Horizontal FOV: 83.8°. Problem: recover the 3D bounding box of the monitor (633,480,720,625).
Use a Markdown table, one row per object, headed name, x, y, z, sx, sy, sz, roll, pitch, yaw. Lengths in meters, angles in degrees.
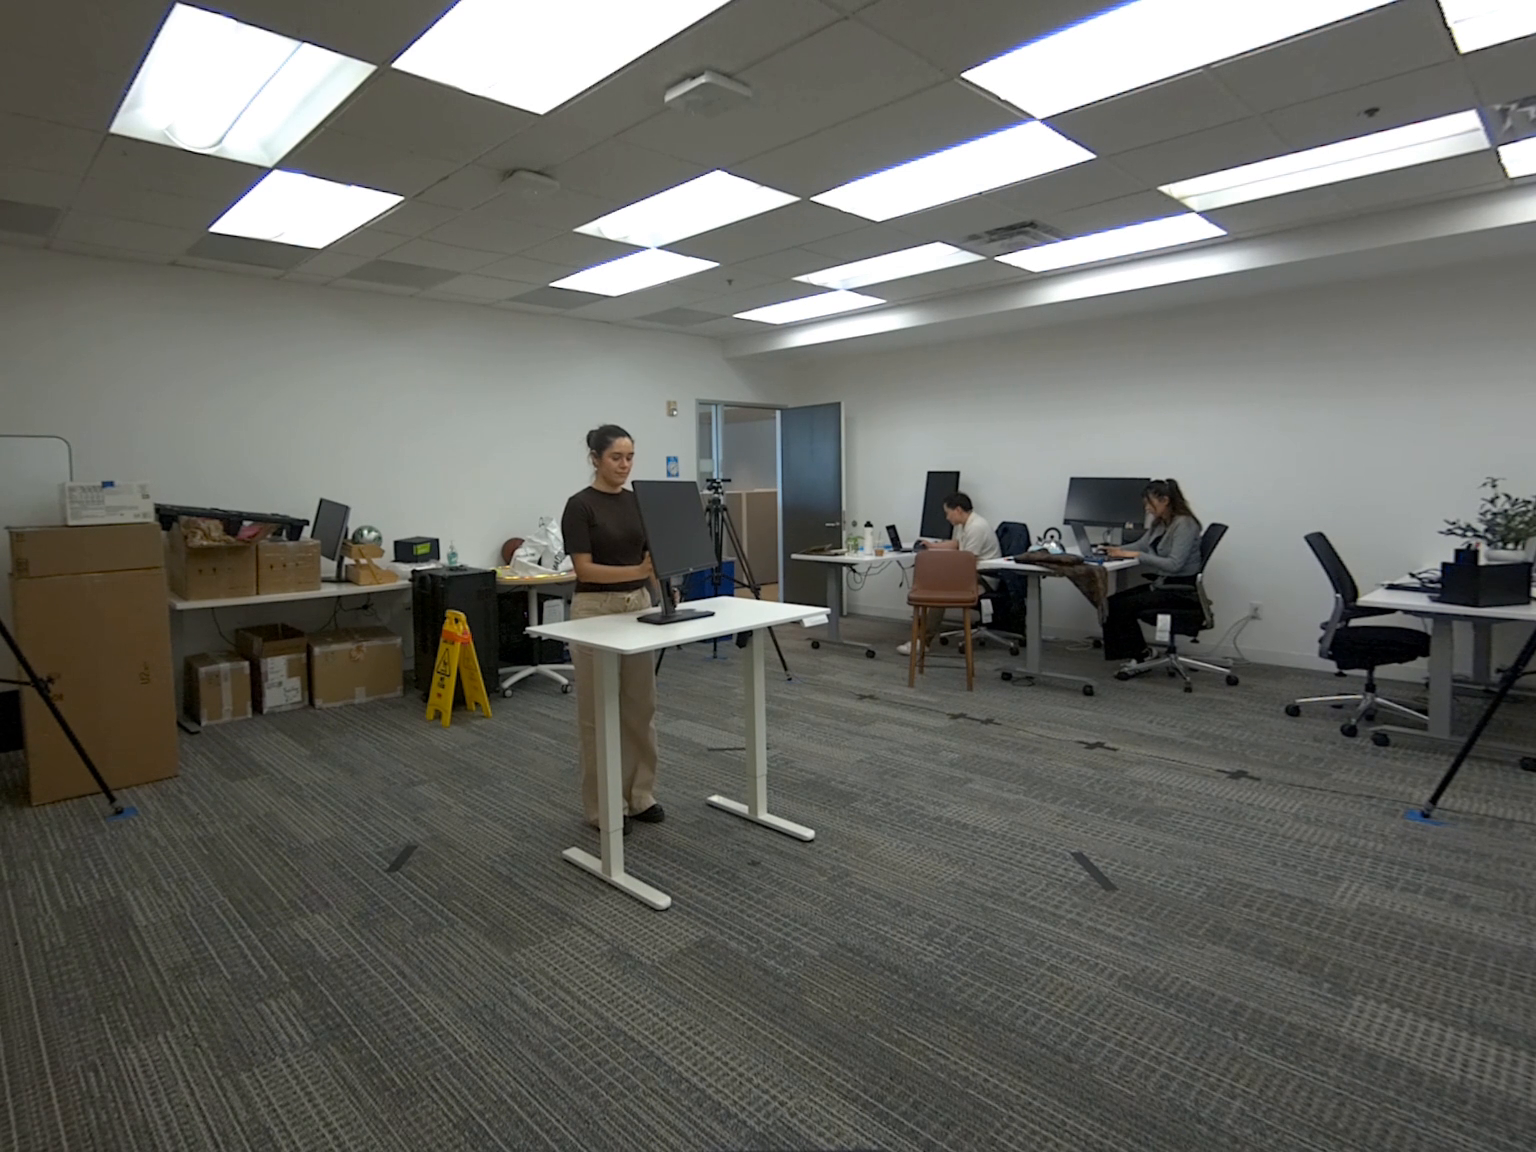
| name | x | y | z | sx | sy | sz | roll | pitch | yaw |
| --- | --- | --- | --- | --- | --- | --- | --- | --- | --- |
| monitor | -0.357 | -0.096 | 3.186 | 0.190 | 0.521 | 0.531 | -1 | 3 | 17 |
